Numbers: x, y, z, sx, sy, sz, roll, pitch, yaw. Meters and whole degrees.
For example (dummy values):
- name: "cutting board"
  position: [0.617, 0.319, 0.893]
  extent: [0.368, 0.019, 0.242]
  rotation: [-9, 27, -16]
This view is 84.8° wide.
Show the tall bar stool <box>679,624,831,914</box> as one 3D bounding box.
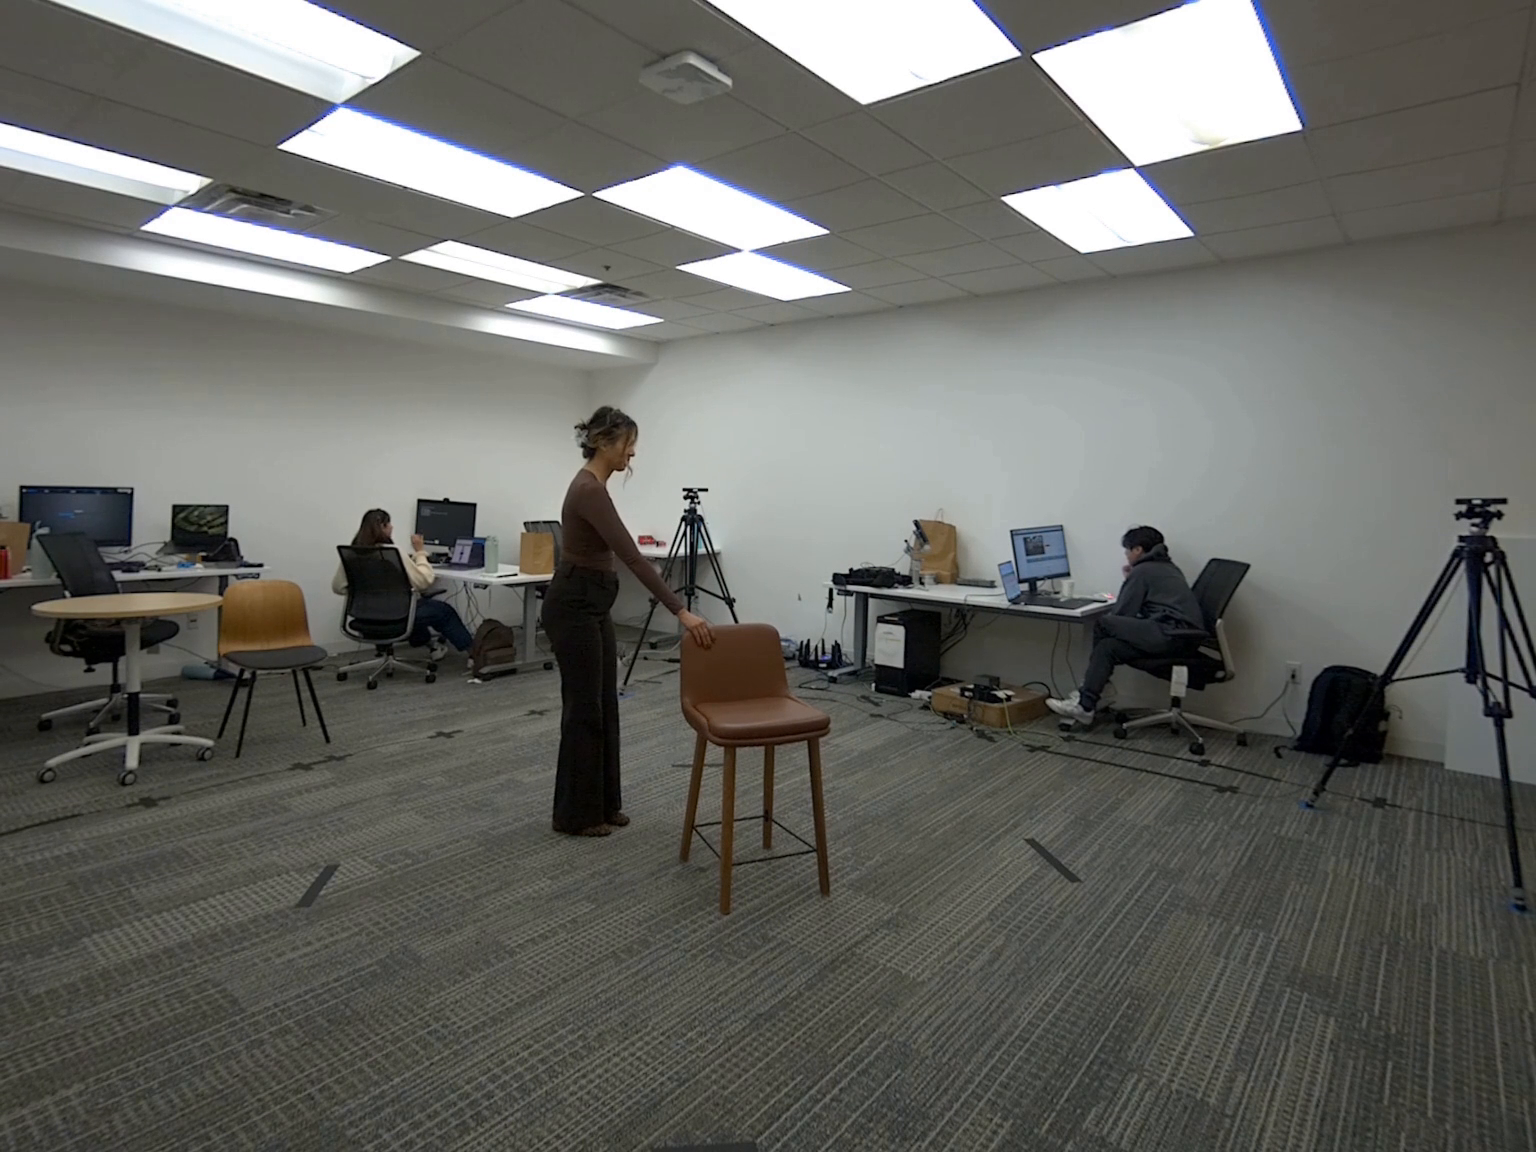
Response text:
- name: "tall bar stool"
  position: [-0.065, 0.642, 3.043]
  extent: [0.446, 0.889, 0.479]
  rotation: [0, 1, -25]
